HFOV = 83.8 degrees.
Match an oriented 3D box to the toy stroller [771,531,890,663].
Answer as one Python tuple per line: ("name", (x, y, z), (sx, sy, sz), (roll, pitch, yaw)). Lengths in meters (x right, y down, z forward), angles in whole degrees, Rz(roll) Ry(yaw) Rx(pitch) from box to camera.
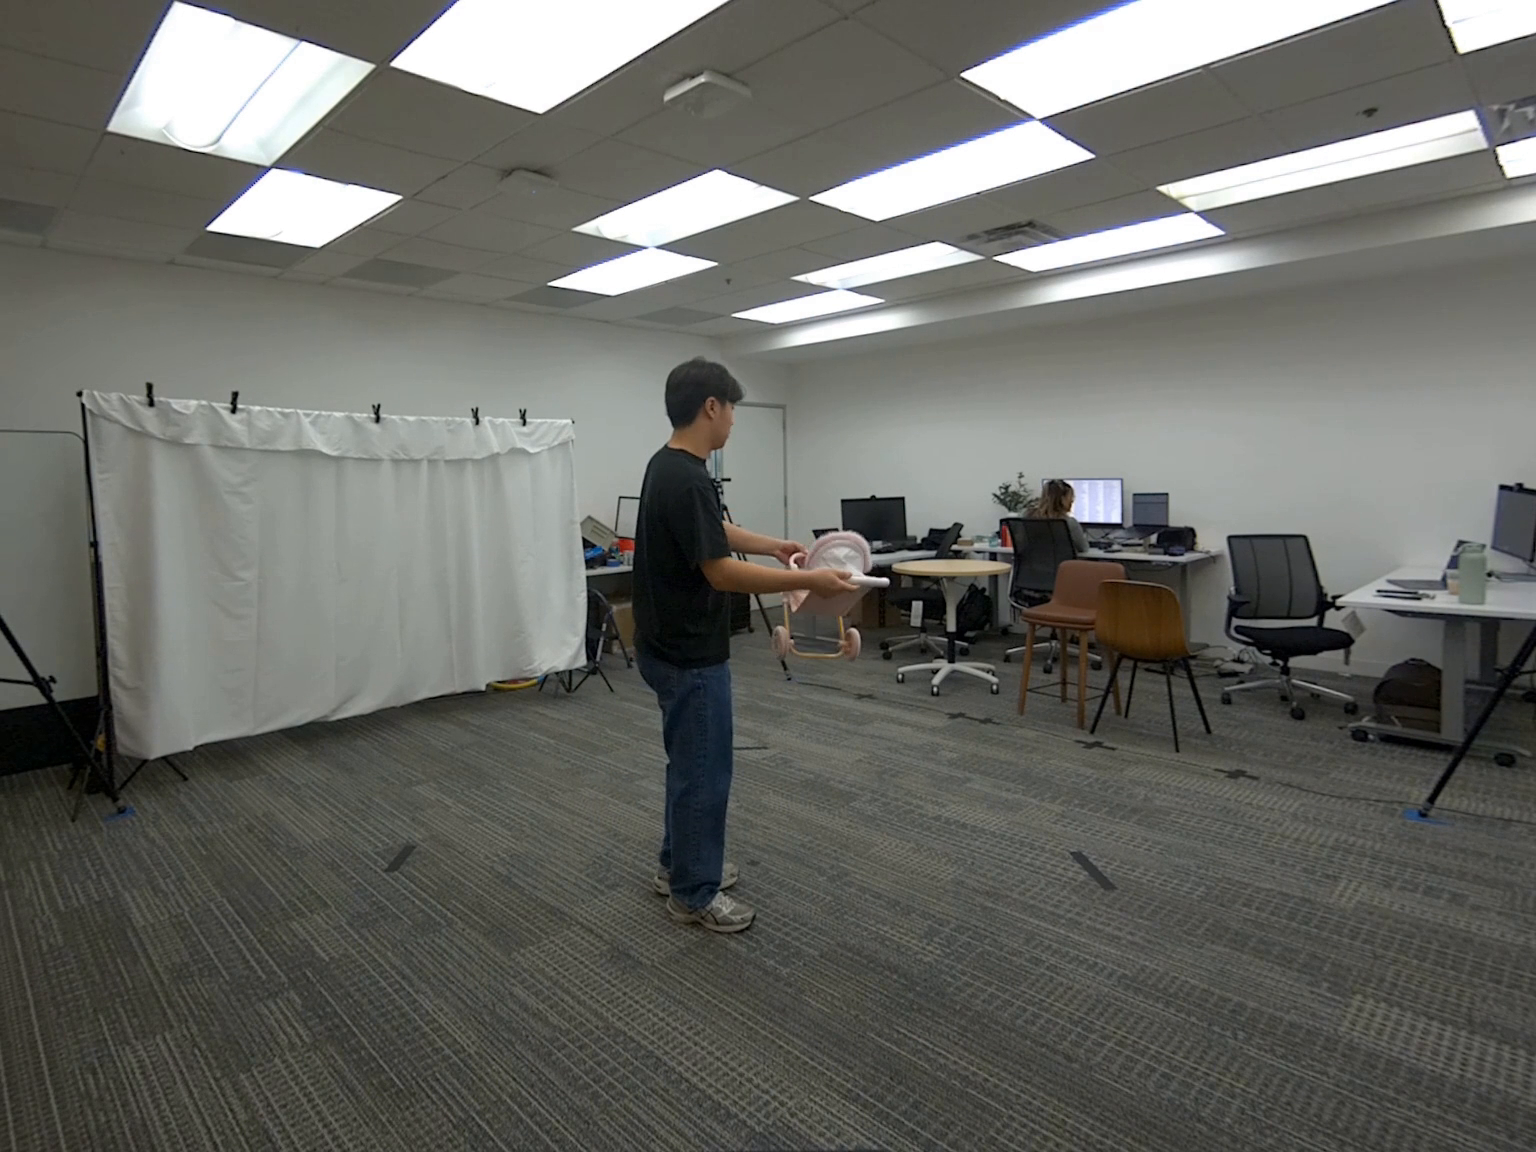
("toy stroller", (0.185, 0.049, 2.753), (0.278, 0.351, 0.526), (5, -40, -13))
